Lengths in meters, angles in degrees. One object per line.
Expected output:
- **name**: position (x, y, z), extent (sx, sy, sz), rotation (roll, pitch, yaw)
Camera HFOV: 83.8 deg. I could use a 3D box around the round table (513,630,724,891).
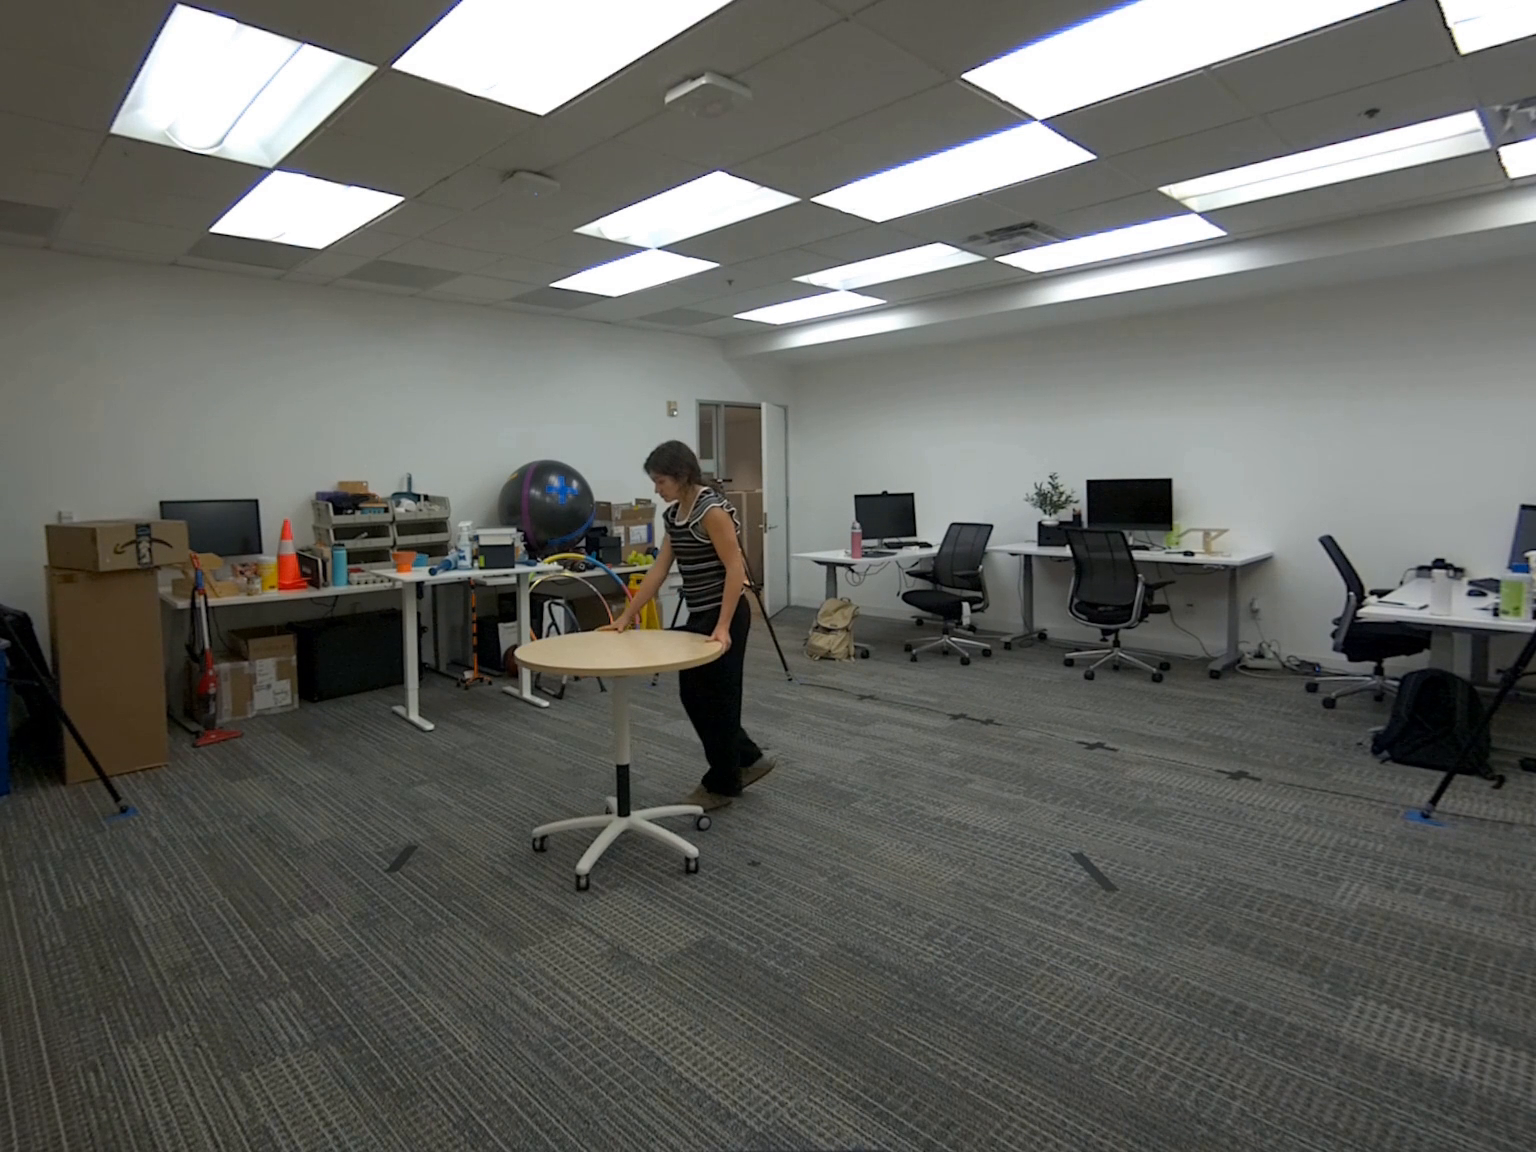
- **round table**: position (-0.545, 0.655, 3.200), extent (0.763, 0.791, 0.768), rotation (-1, 5, -2)
